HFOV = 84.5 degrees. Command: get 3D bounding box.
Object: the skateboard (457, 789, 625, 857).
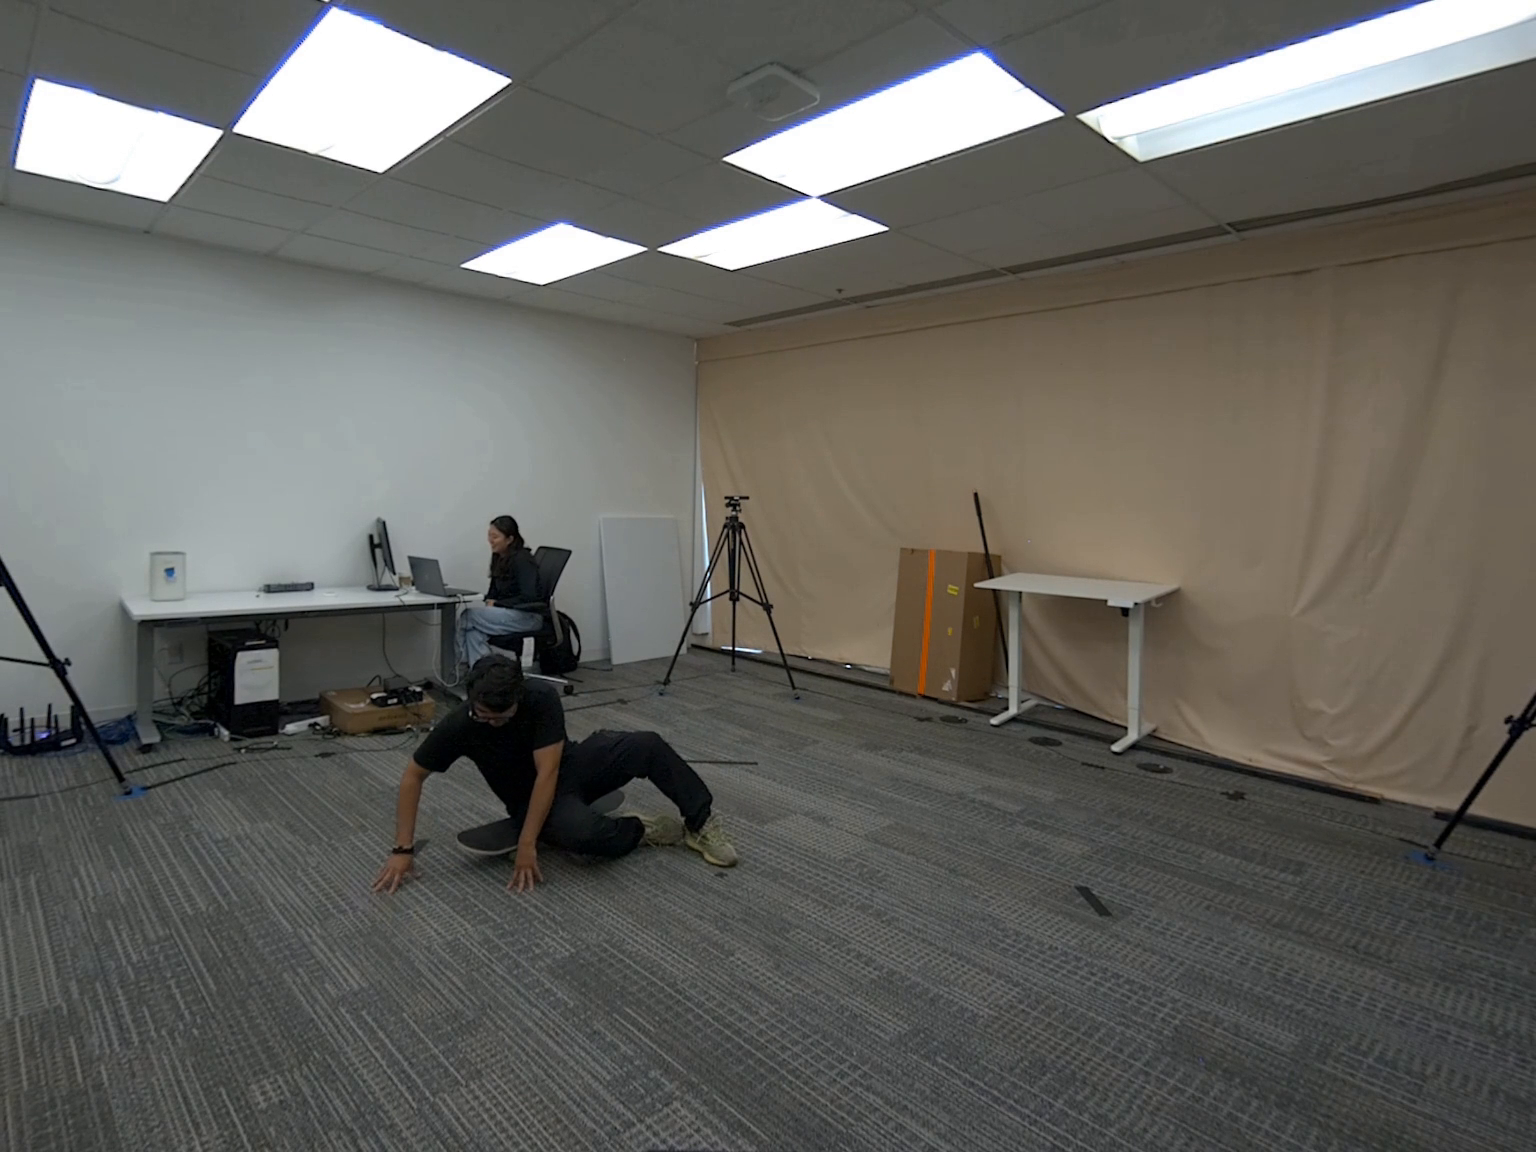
[{"bbox_3d":[-0.894,1.004,3.374,0.199,0.109,0.768,16,14,37],"label":"skateboard"}]
